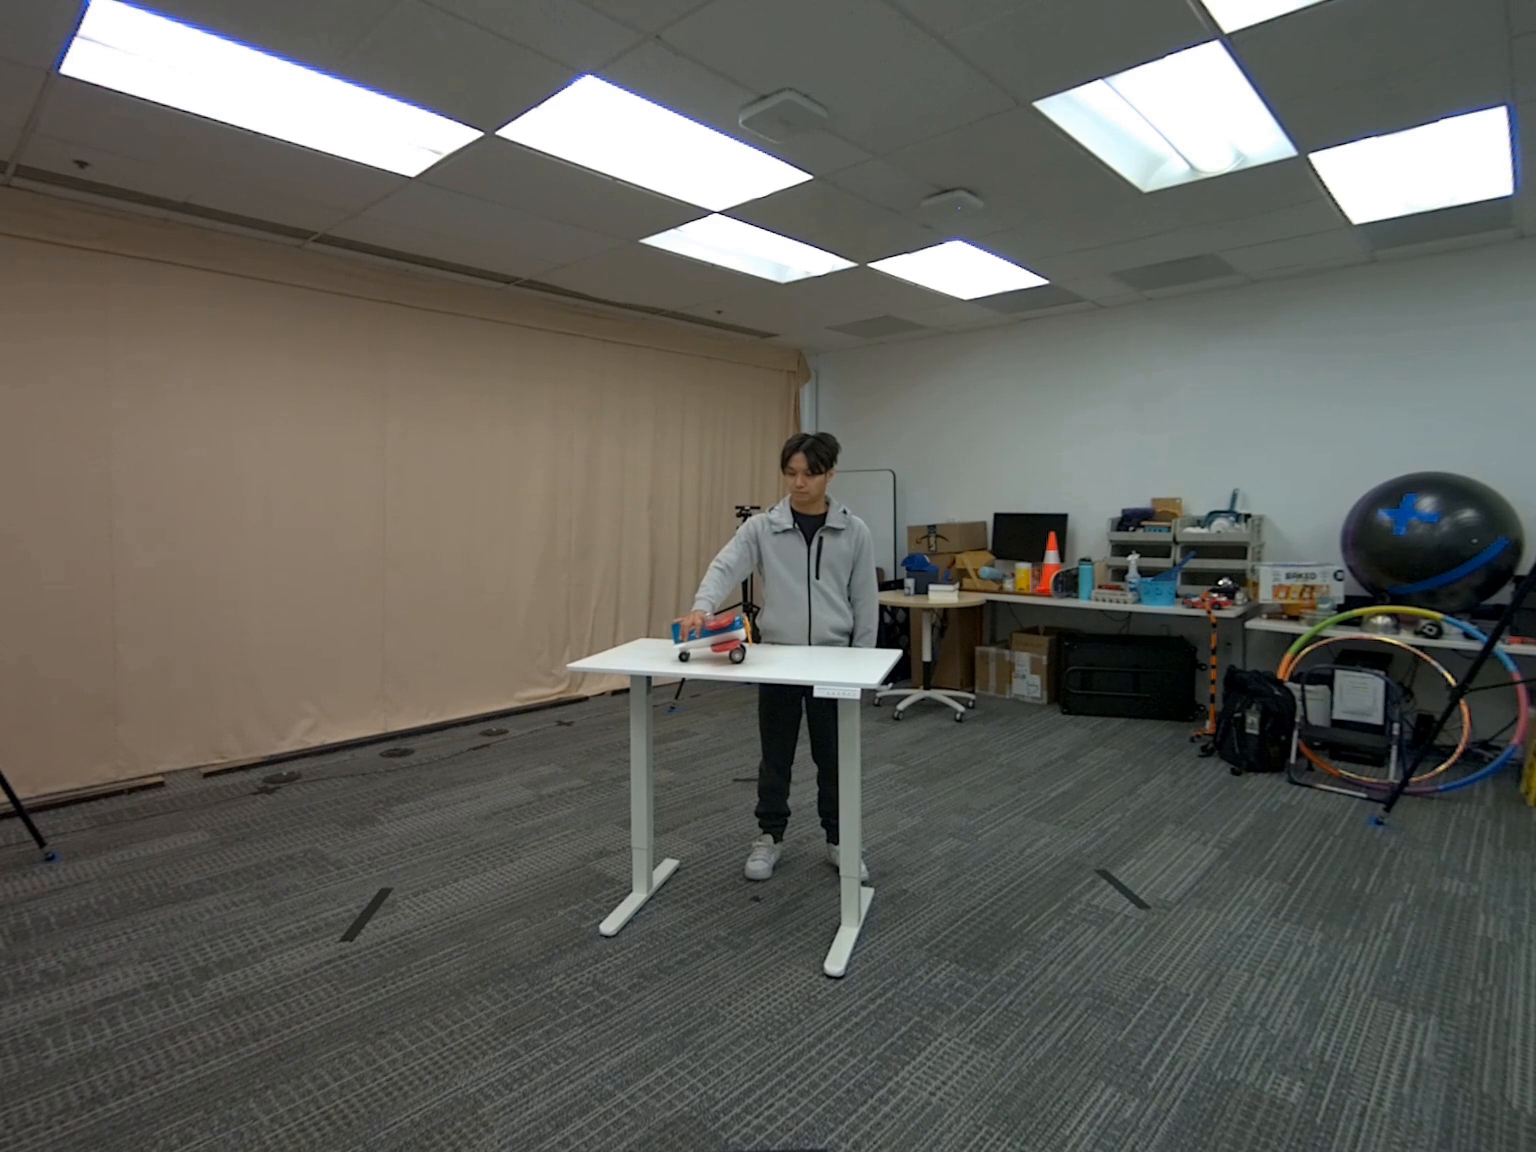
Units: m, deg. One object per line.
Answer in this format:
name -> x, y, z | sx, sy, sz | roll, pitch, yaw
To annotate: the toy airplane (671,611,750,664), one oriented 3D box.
toy airplane -> -0.178, 0.207, 2.745 | 0.253, 0.156, 0.258 | -2, 4, -26
